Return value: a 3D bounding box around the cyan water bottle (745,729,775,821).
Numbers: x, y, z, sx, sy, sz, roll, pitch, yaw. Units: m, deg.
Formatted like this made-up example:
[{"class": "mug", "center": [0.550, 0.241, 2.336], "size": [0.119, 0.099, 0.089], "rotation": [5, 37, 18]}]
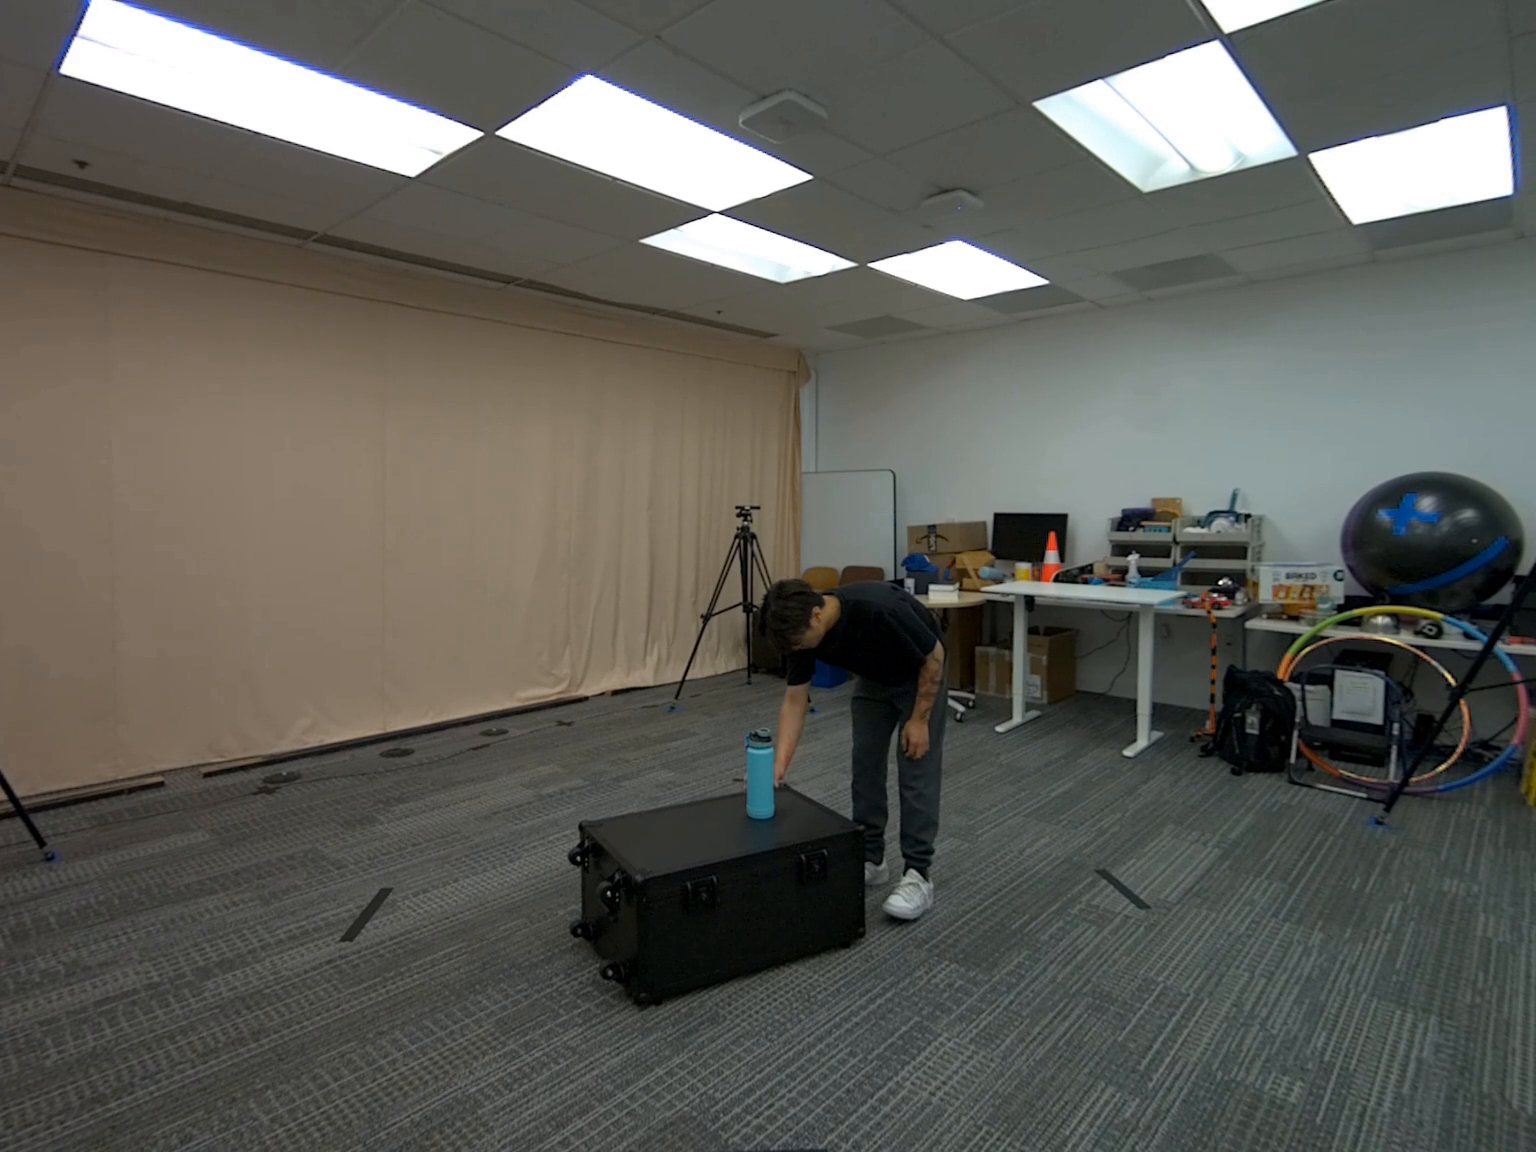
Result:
[{"class": "cyan water bottle", "center": [-0.021, 0.645, 2.772], "size": [0.092, 0.283, 0.093], "rotation": [-1, 4, -2]}]
